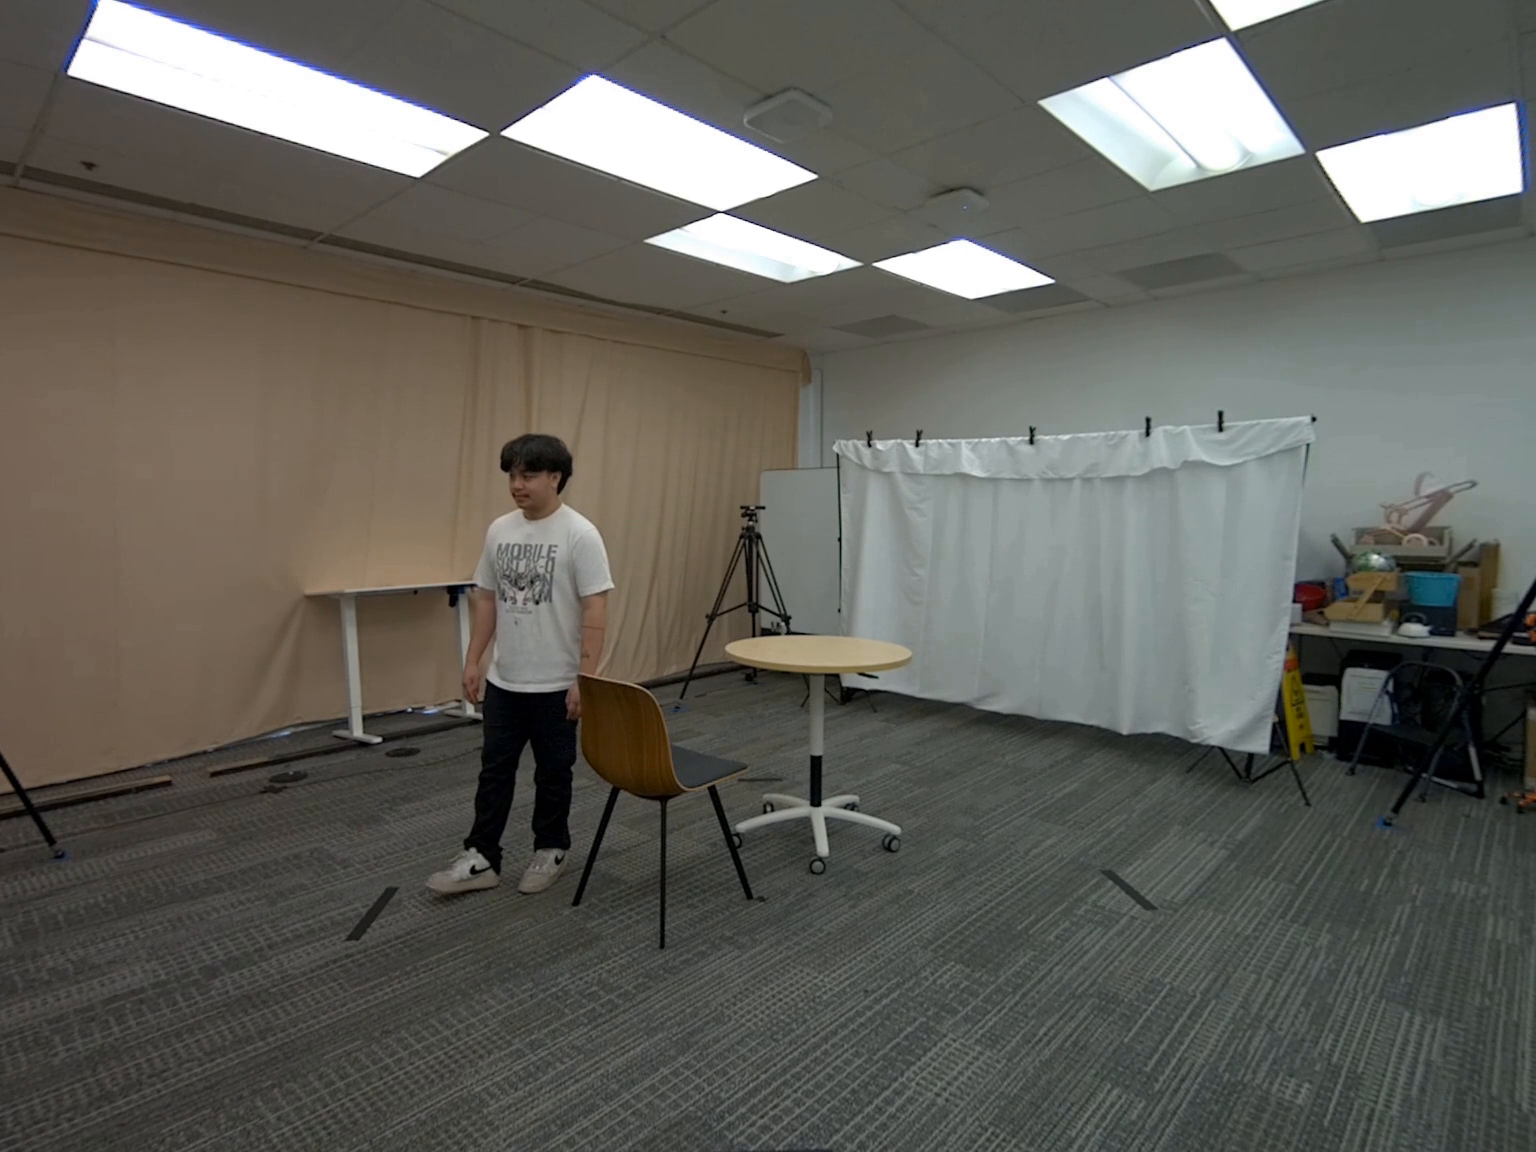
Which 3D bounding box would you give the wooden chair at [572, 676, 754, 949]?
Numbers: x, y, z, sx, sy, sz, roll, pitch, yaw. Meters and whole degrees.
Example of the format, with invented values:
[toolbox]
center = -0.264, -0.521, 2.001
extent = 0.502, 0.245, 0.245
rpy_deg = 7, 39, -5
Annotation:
[wooden chair]
center = -0.361, 0.724, 2.935
extent = 0.494, 0.874, 0.508
rpy_deg = 2, 8, 41
